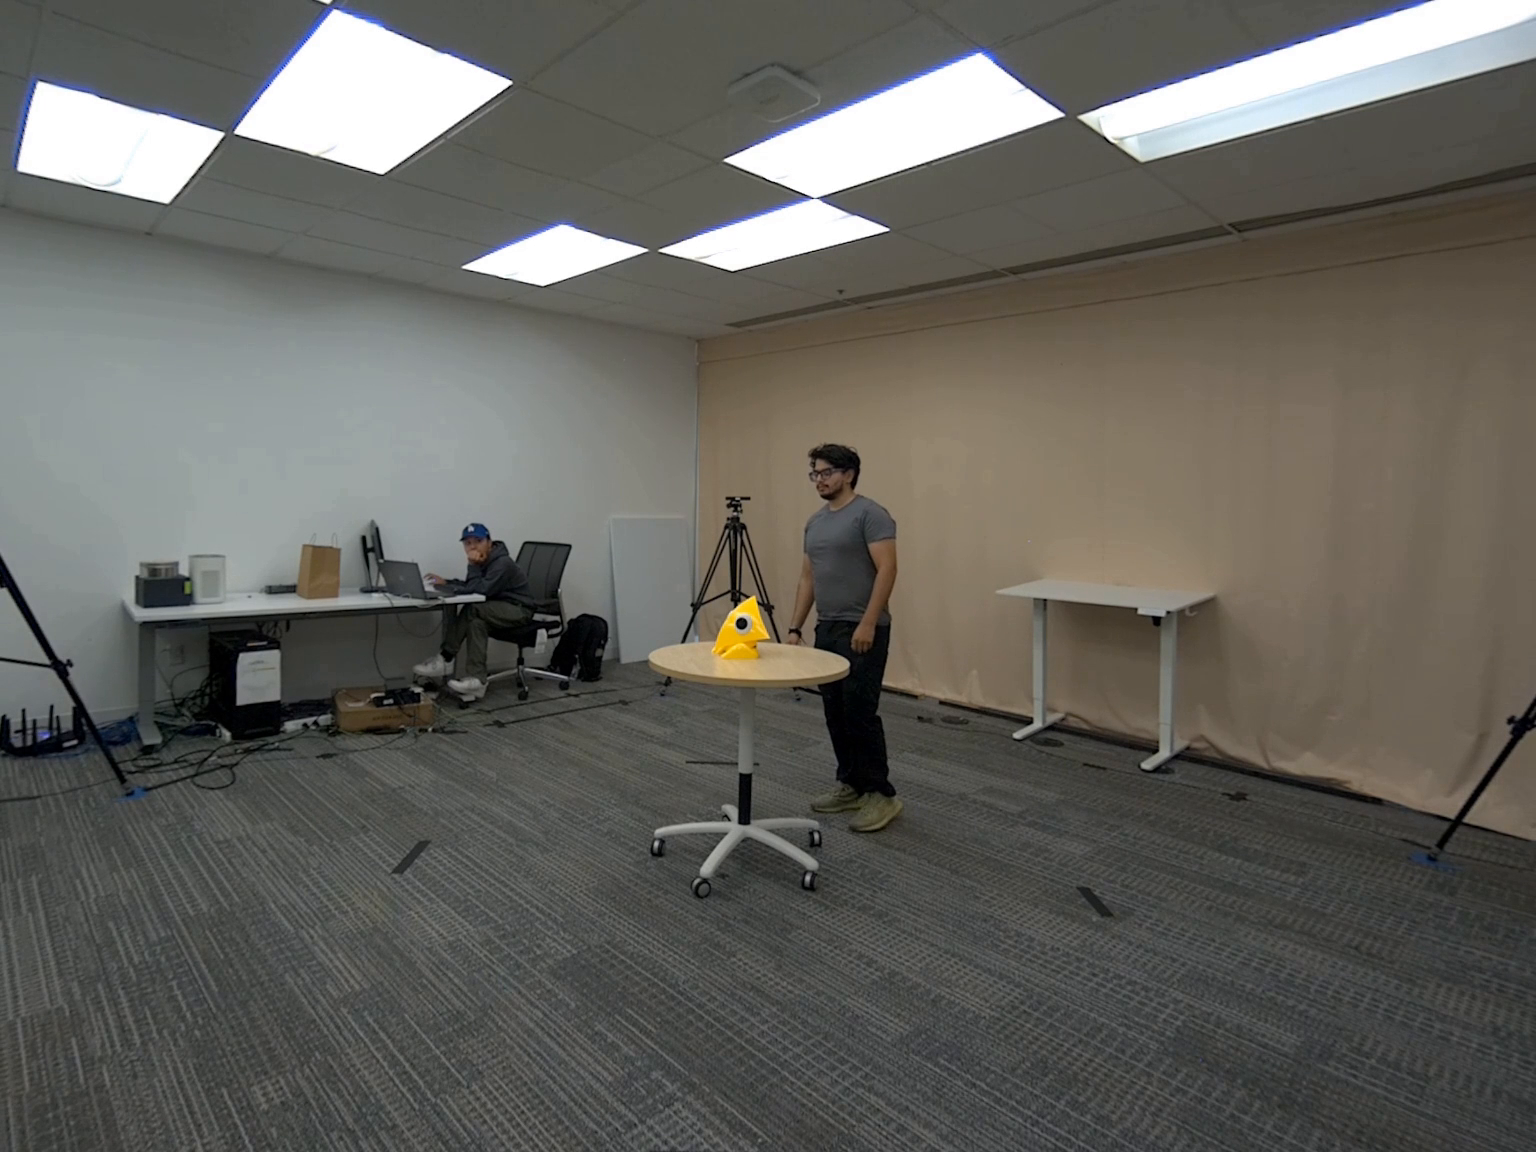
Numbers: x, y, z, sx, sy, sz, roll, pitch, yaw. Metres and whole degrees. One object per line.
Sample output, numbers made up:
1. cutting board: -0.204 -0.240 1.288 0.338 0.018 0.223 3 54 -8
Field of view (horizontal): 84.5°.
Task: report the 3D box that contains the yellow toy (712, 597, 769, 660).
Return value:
1. yellow toy: -0.120 0.194 3.284 0.190 0.230 0.208 0 4 -20
